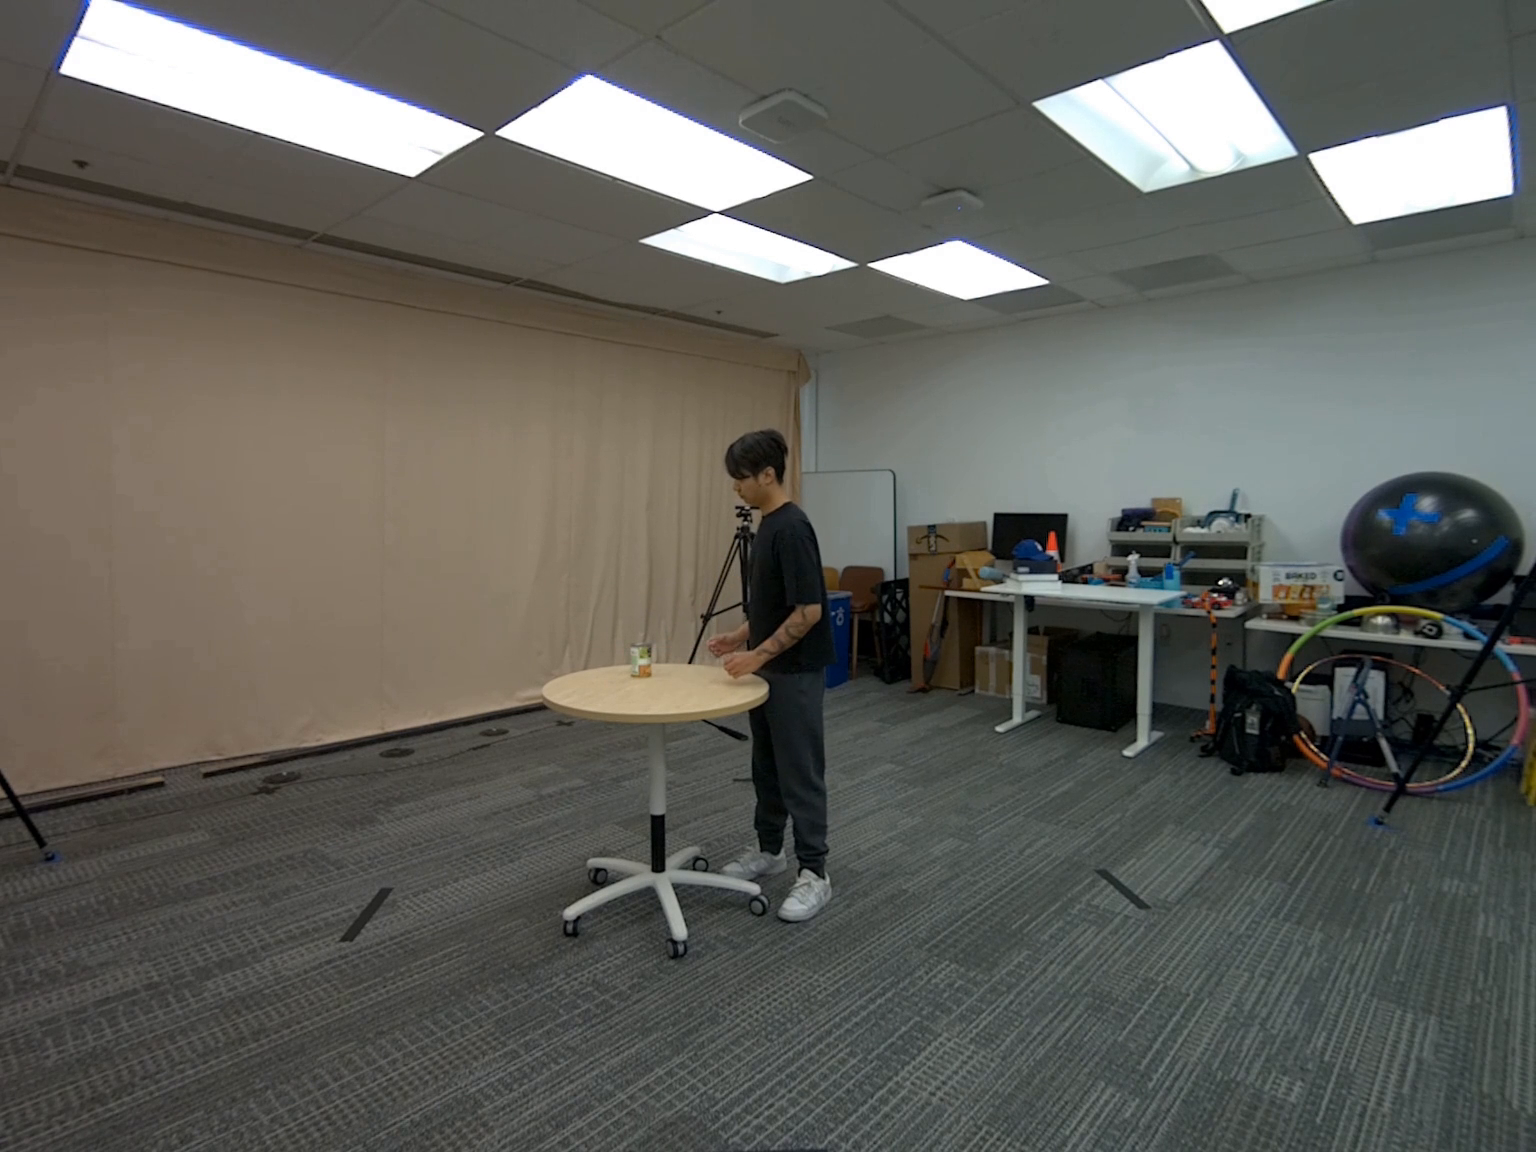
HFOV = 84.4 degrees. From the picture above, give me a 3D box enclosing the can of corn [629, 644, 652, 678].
[{"bbox_3d":[-0.455,0.305,3.033,0.074,0.111,0.074,-2,0,-2],"label":"can of corn"}]
